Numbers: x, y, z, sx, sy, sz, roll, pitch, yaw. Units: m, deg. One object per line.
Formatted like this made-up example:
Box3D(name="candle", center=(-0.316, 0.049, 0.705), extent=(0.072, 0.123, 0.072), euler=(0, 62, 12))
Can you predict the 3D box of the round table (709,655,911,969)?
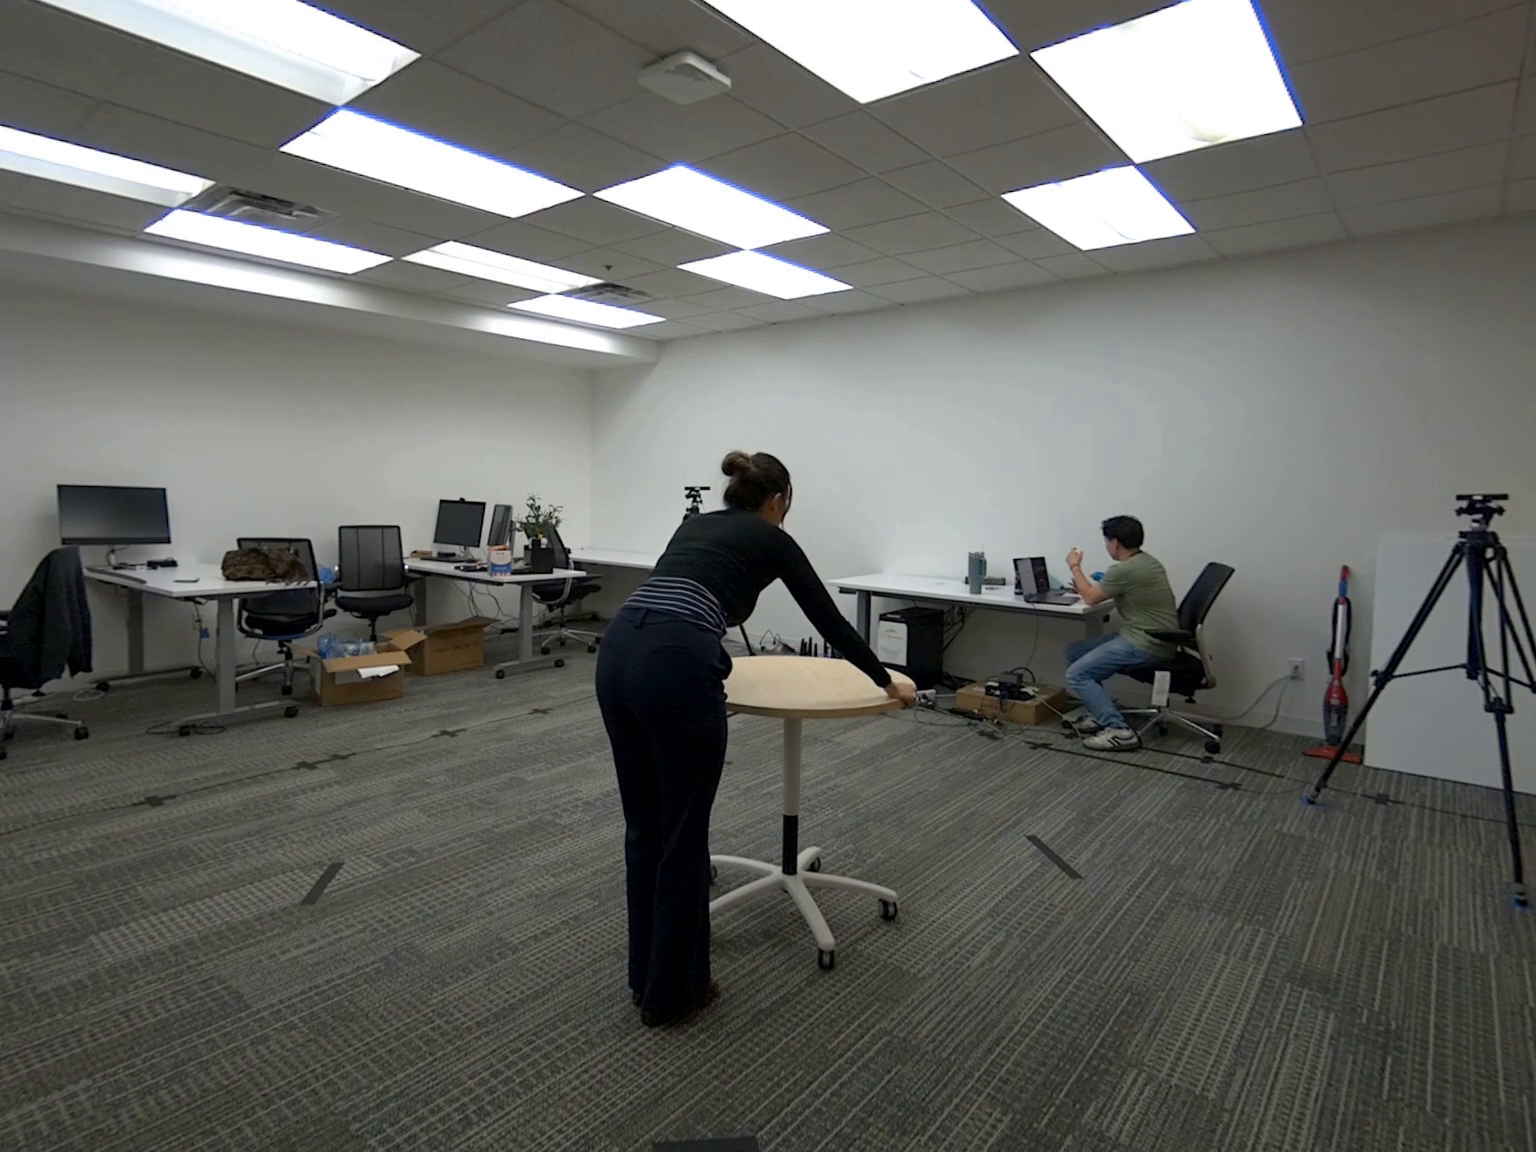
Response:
Box3D(name="round table", center=(0.065, 0.717, 2.772), extent=(0.763, 0.791, 0.768), euler=(1, 4, -2))
